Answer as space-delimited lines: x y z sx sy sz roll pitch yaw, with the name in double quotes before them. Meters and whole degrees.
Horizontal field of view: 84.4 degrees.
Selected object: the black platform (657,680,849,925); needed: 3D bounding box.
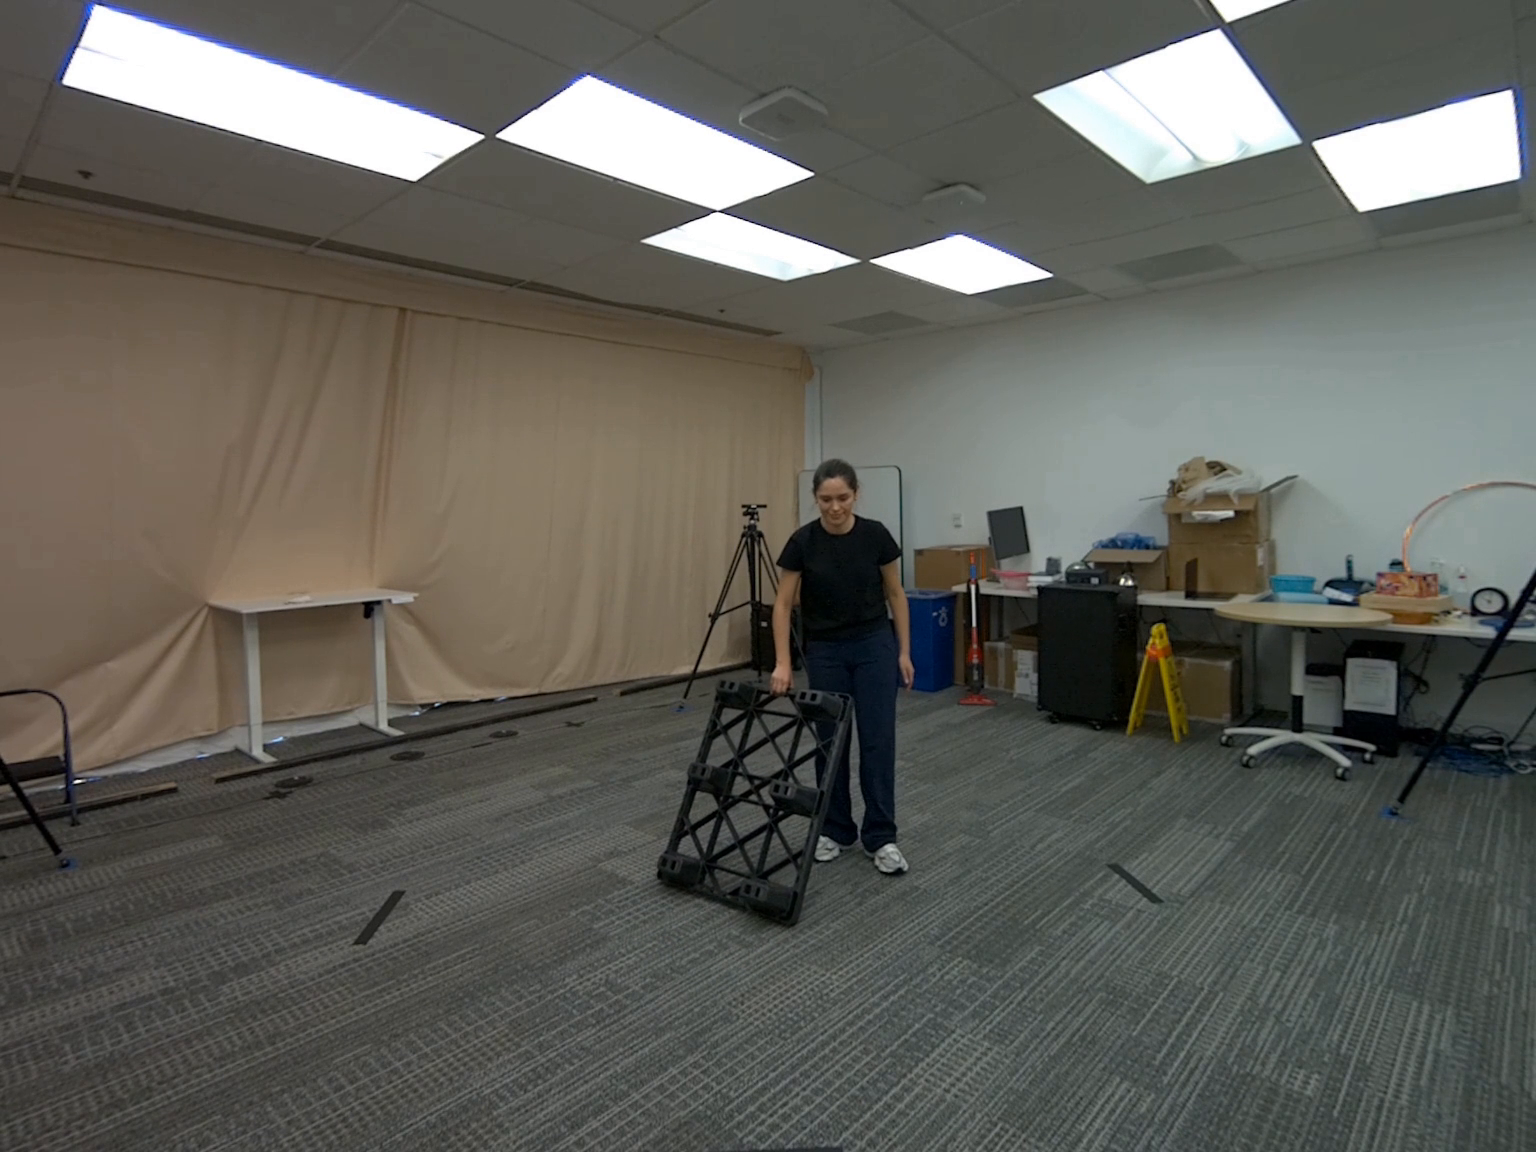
"black platform" -0.050 0.763 3.059 0.624 0.810 0.138 1 -28 36
